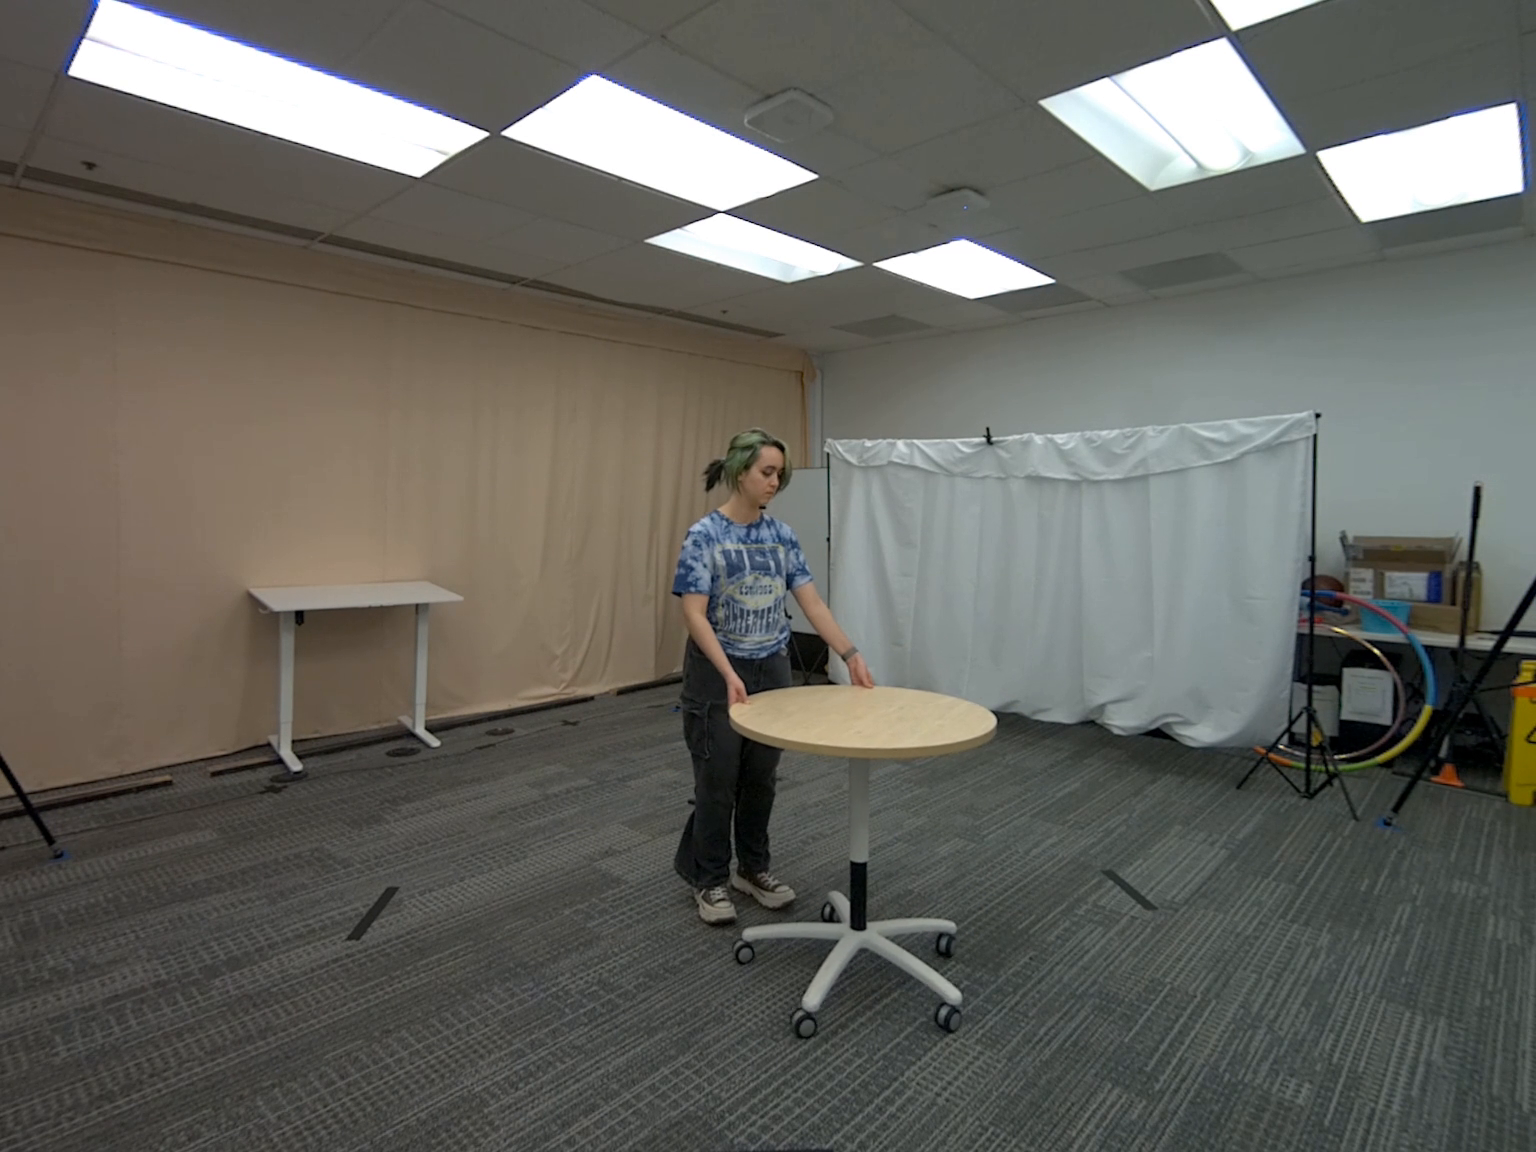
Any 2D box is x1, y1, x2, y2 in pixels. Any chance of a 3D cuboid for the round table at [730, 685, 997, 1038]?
[{"bbox_3d":[0.270,0.794,2.488,0.763,0.792,0.766,0,4,-2],"label":"round table"}]
